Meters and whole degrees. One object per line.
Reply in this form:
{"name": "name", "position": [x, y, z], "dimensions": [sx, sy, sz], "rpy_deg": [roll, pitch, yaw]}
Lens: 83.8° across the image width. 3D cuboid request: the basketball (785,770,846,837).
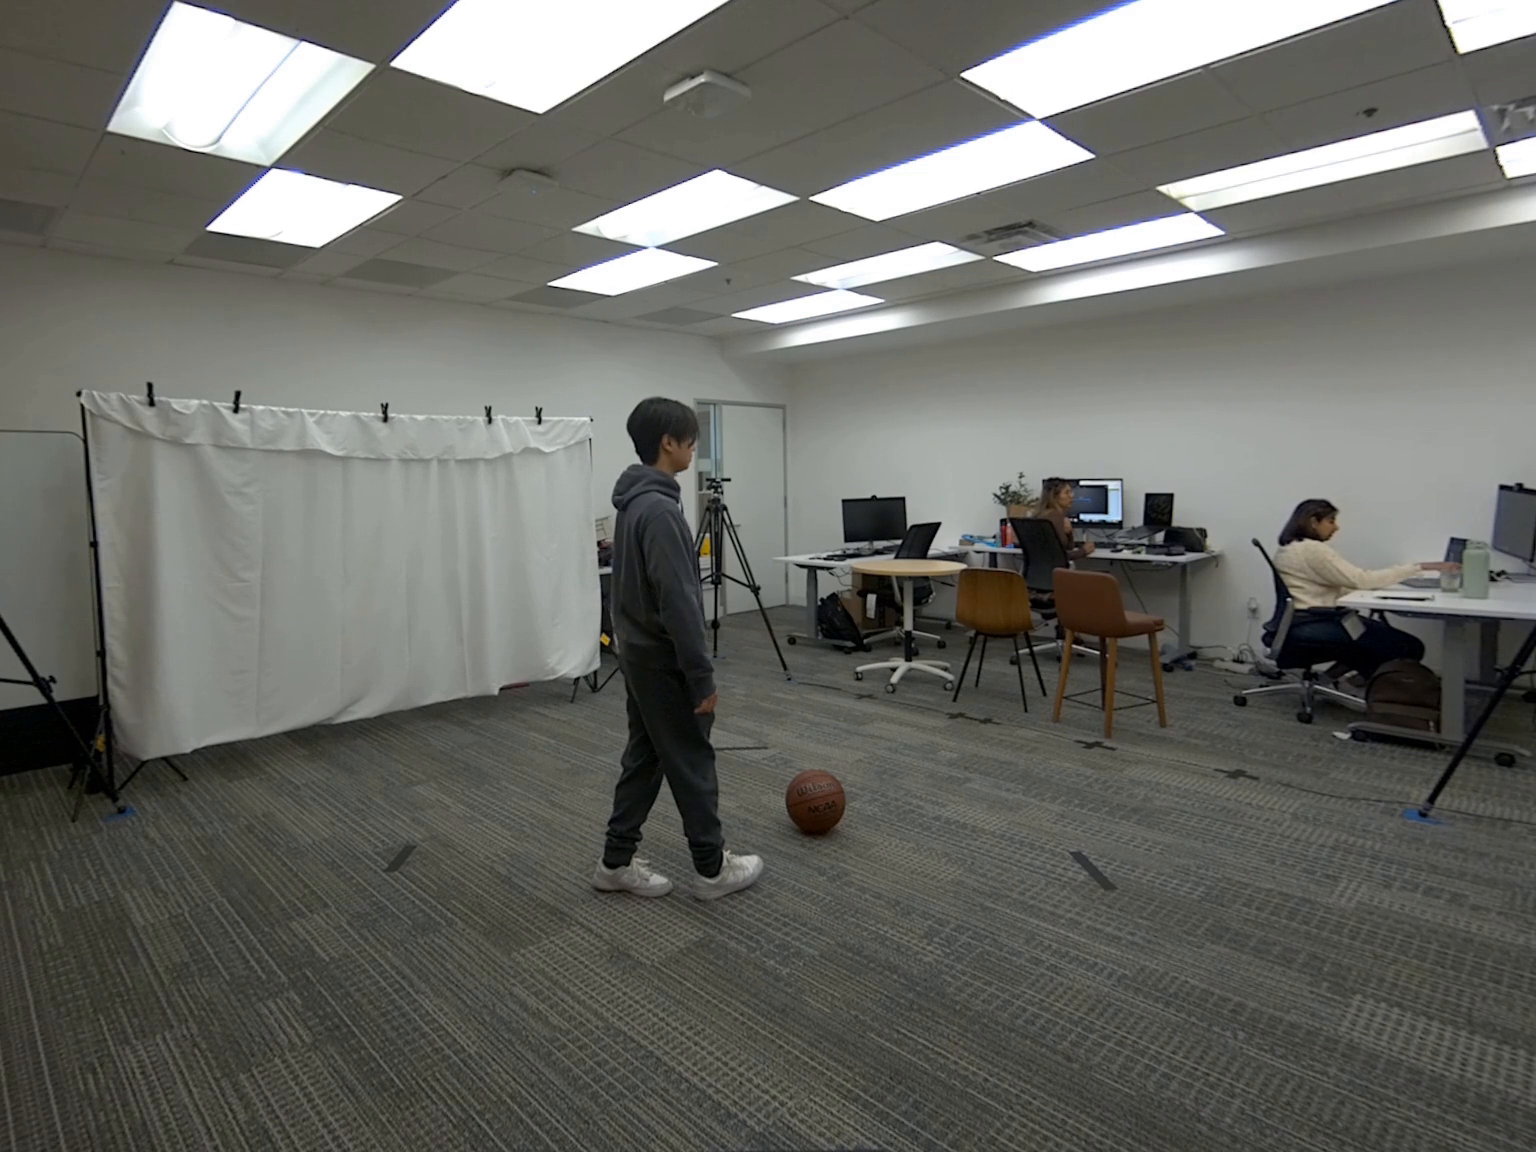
{"name": "basketball", "position": [0.188, 0.886, 3.379], "dimensions": [0.236, 0.235, 0.237], "rpy_deg": [-1, 5, -2]}
